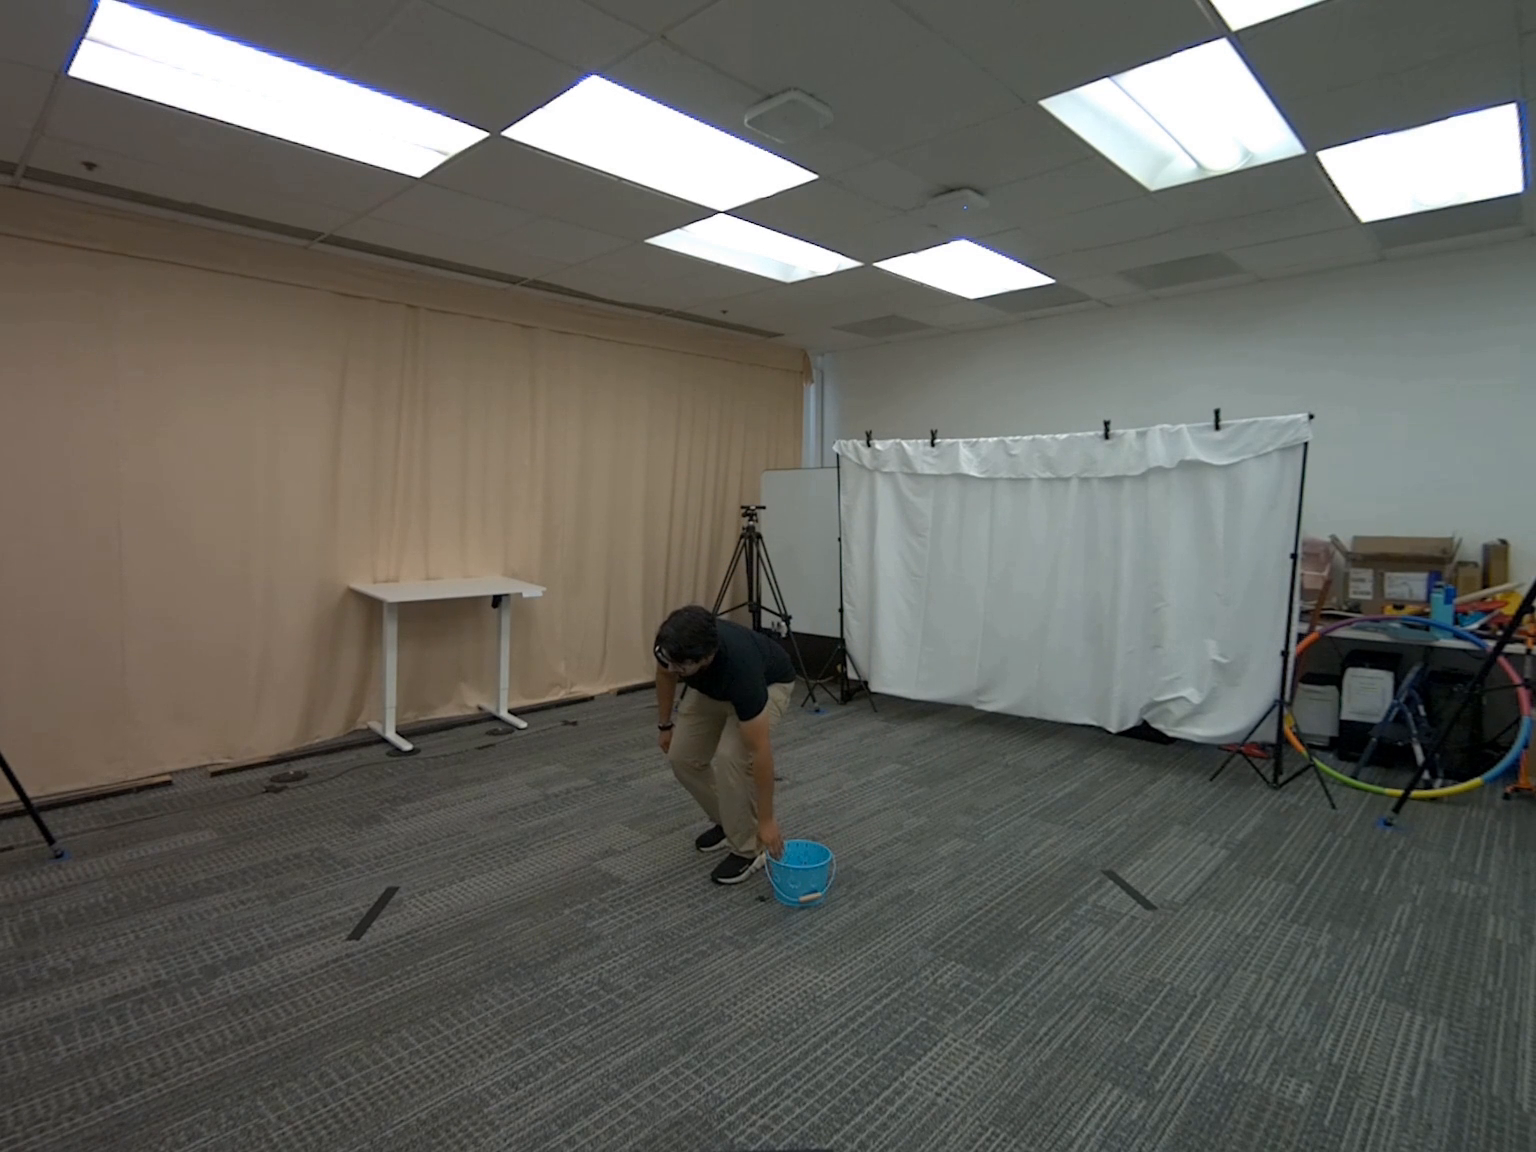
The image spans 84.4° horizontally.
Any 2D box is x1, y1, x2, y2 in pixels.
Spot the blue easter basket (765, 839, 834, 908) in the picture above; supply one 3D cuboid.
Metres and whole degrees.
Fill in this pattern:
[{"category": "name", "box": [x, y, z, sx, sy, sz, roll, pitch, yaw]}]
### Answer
[{"category": "blue easter basket", "box": [0.109, 1.063, 3.003, 0.243, 0.155, 0.244, -1, 5, -2]}]
